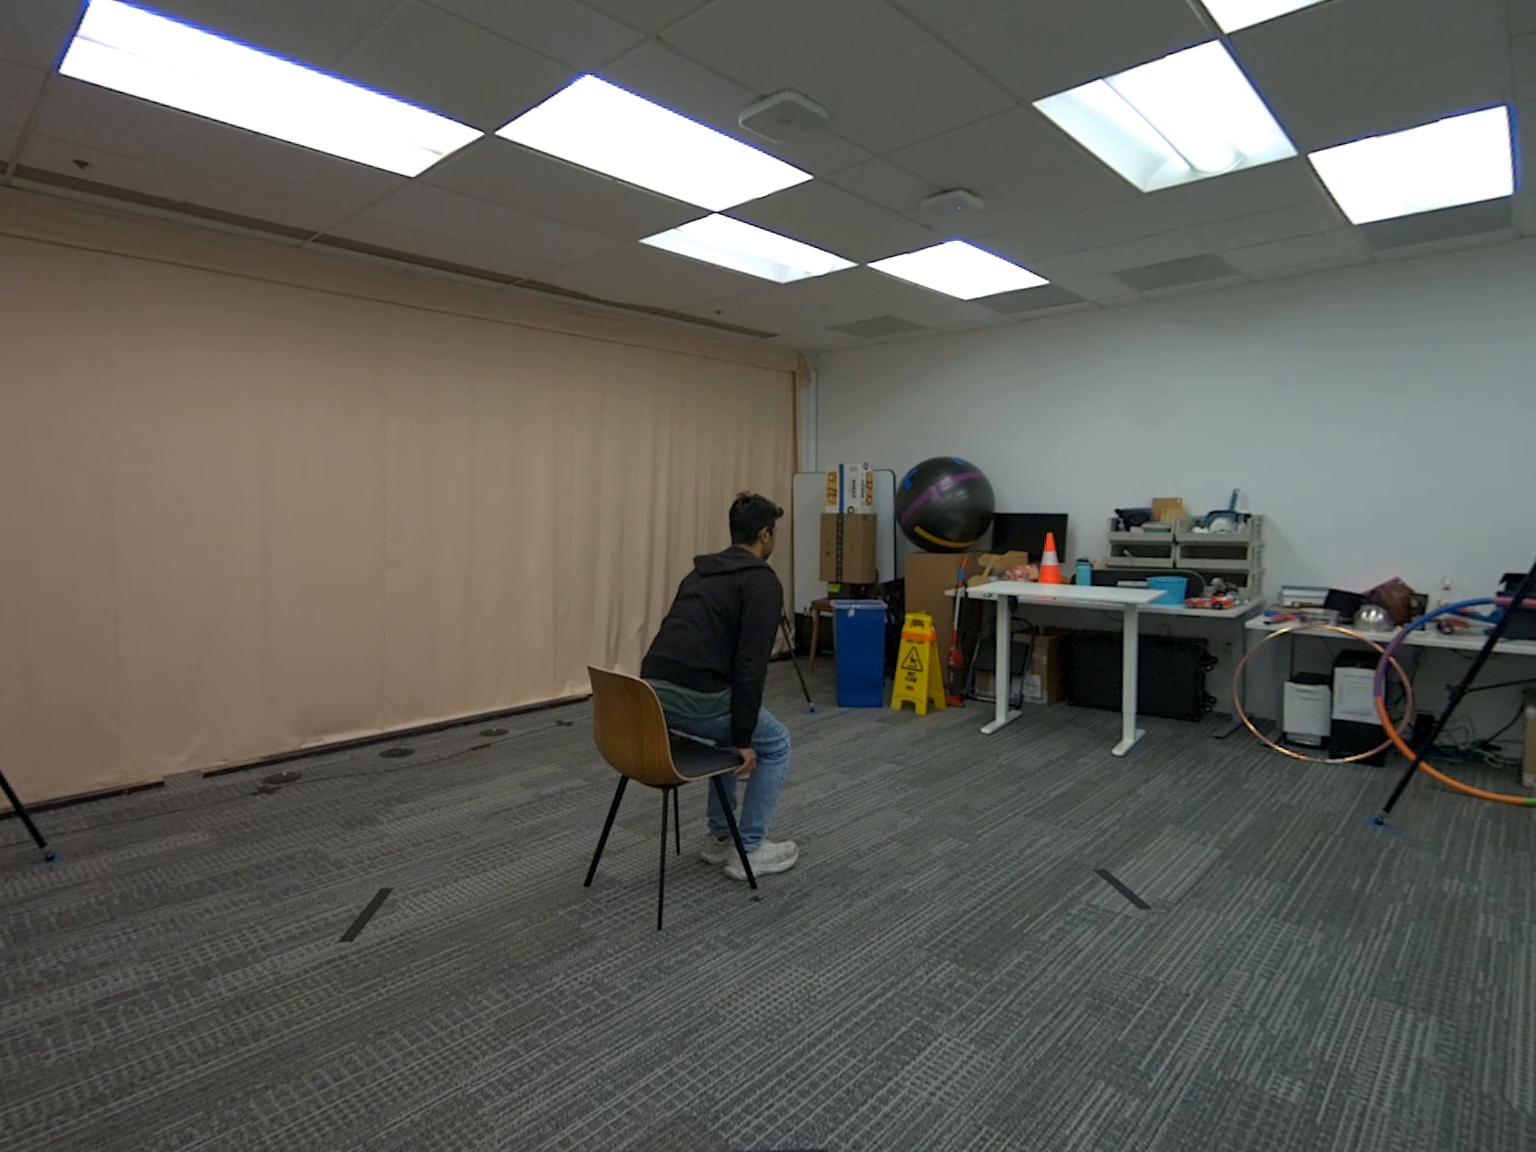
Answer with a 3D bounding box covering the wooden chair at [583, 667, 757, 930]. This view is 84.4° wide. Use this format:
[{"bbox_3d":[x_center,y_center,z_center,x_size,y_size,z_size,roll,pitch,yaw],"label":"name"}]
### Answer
[{"bbox_3d":[-0.348,0.712,3.057,0.508,0.874,0.494,-8,7,-43],"label":"wooden chair"}]
